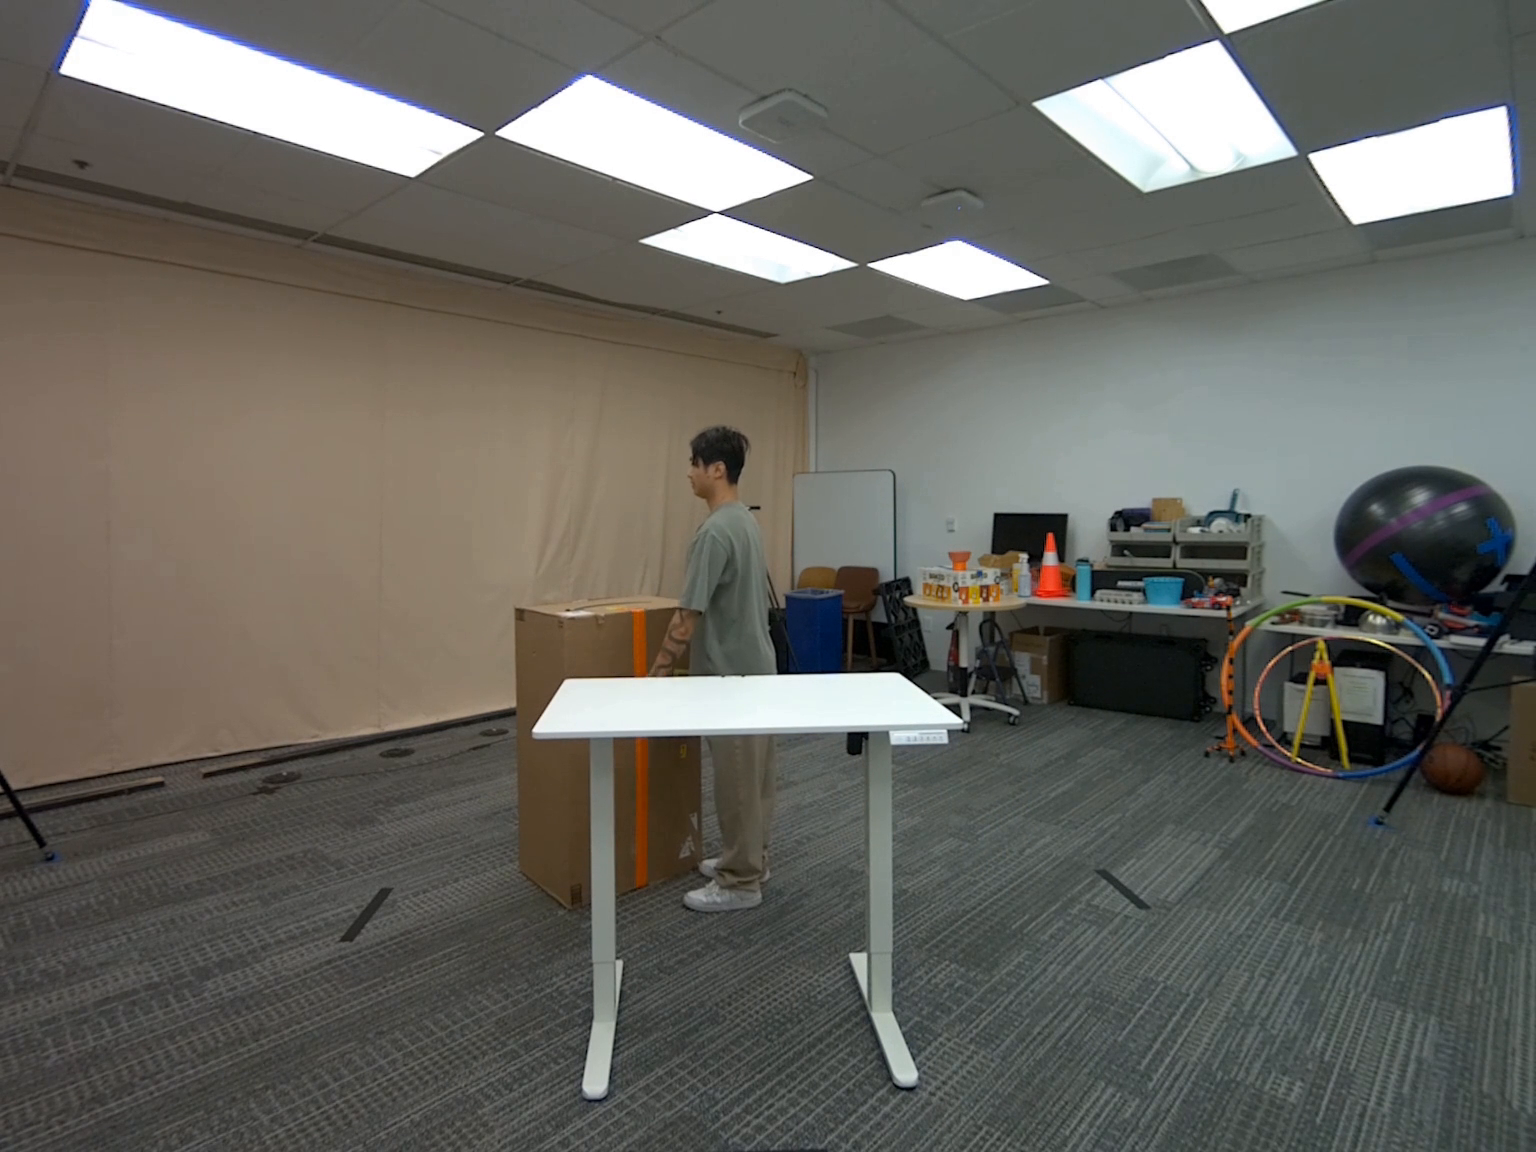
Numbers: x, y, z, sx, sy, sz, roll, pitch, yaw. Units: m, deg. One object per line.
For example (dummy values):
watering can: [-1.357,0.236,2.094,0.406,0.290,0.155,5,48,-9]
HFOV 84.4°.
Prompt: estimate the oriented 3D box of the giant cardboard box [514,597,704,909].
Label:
giant cardboard box: [-0.610,0.622,3.221,0.560,1.024,0.440,-2,4,-39]
